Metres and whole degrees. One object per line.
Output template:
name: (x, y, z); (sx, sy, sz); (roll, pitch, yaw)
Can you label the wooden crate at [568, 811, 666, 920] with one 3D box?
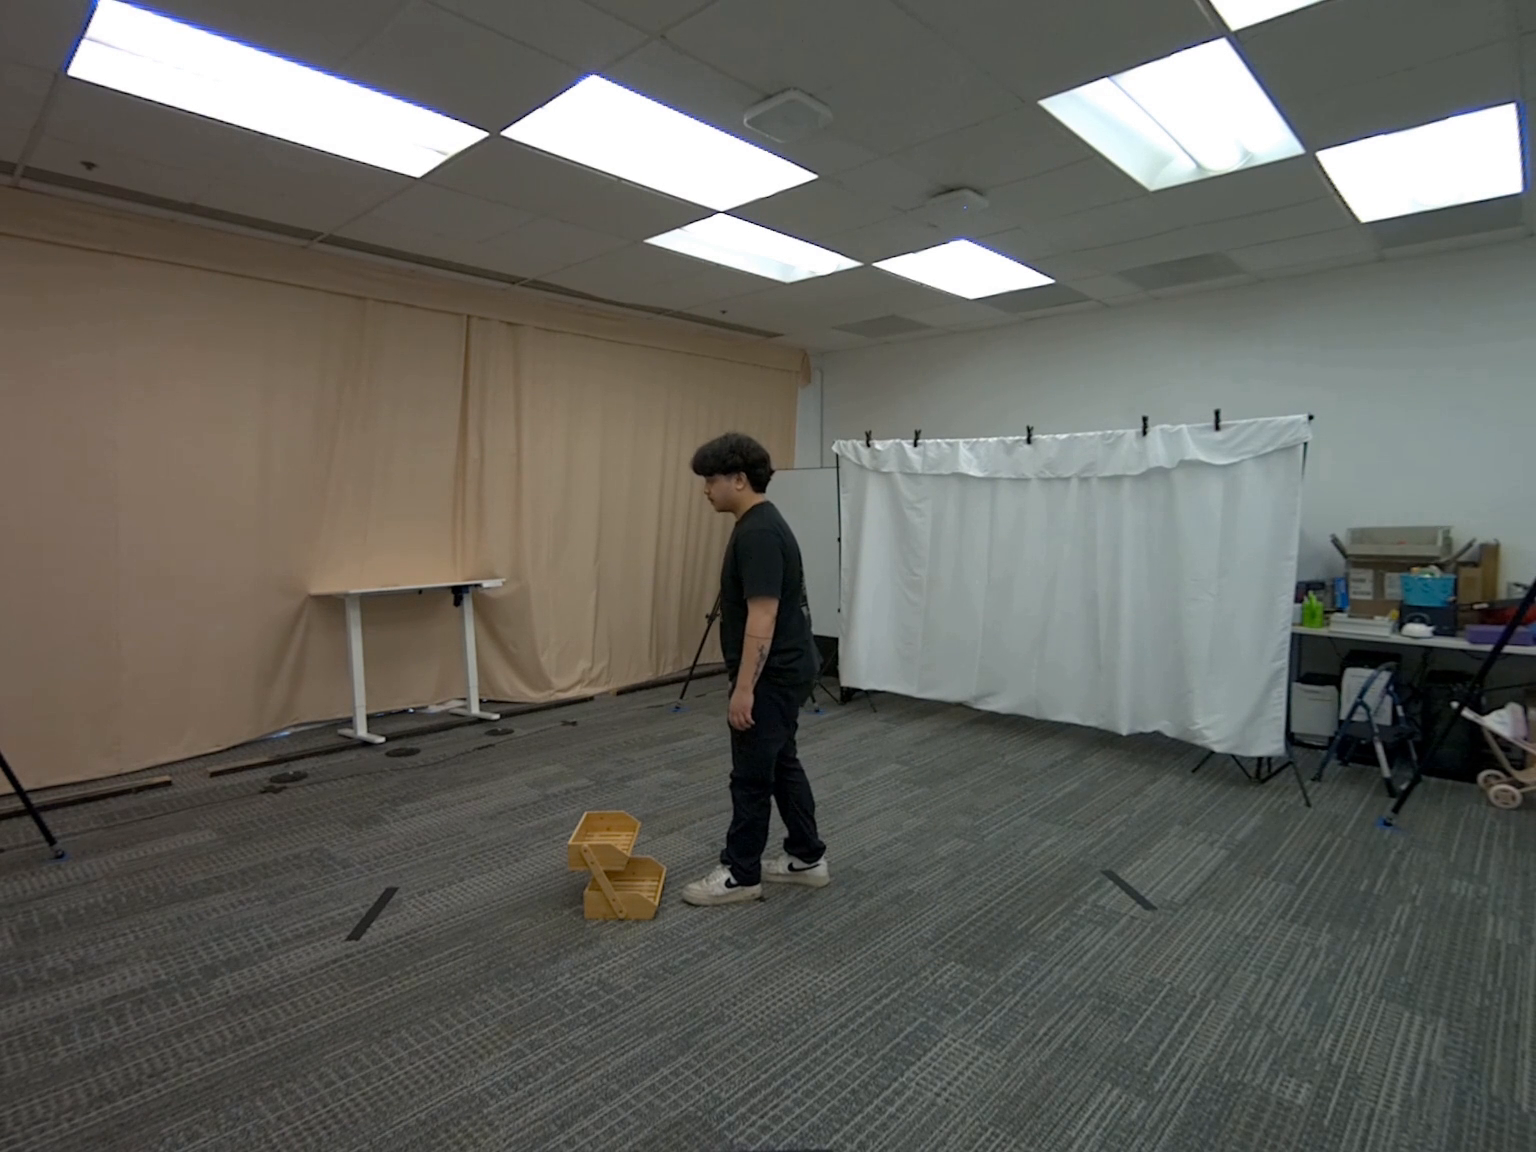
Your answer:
wooden crate: (-0.522, 1.019, 2.990); (0.302, 0.273, 0.325); (0, 4, 1)
